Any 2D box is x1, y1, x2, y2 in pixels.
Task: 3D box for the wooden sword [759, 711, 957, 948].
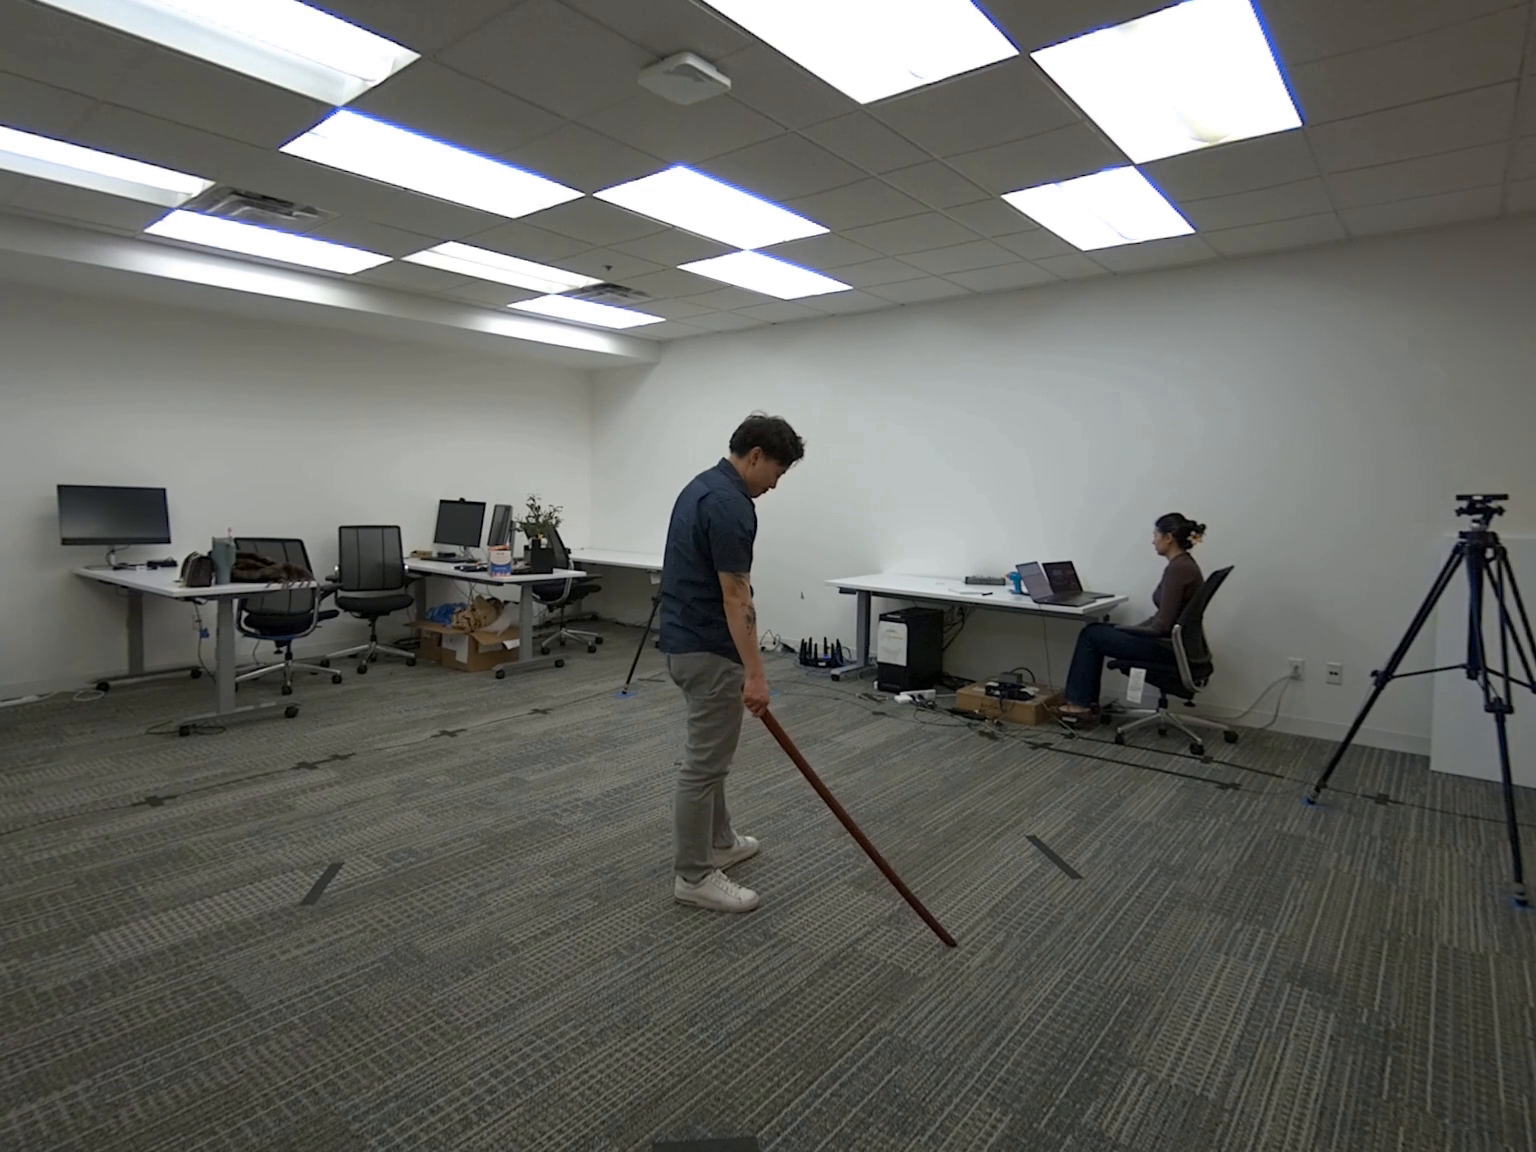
[{"bbox_3d":[0.243,0.746,2.632,0.051,1.027,0.024,-39,-2,-25],"label":"wooden sword"}]
